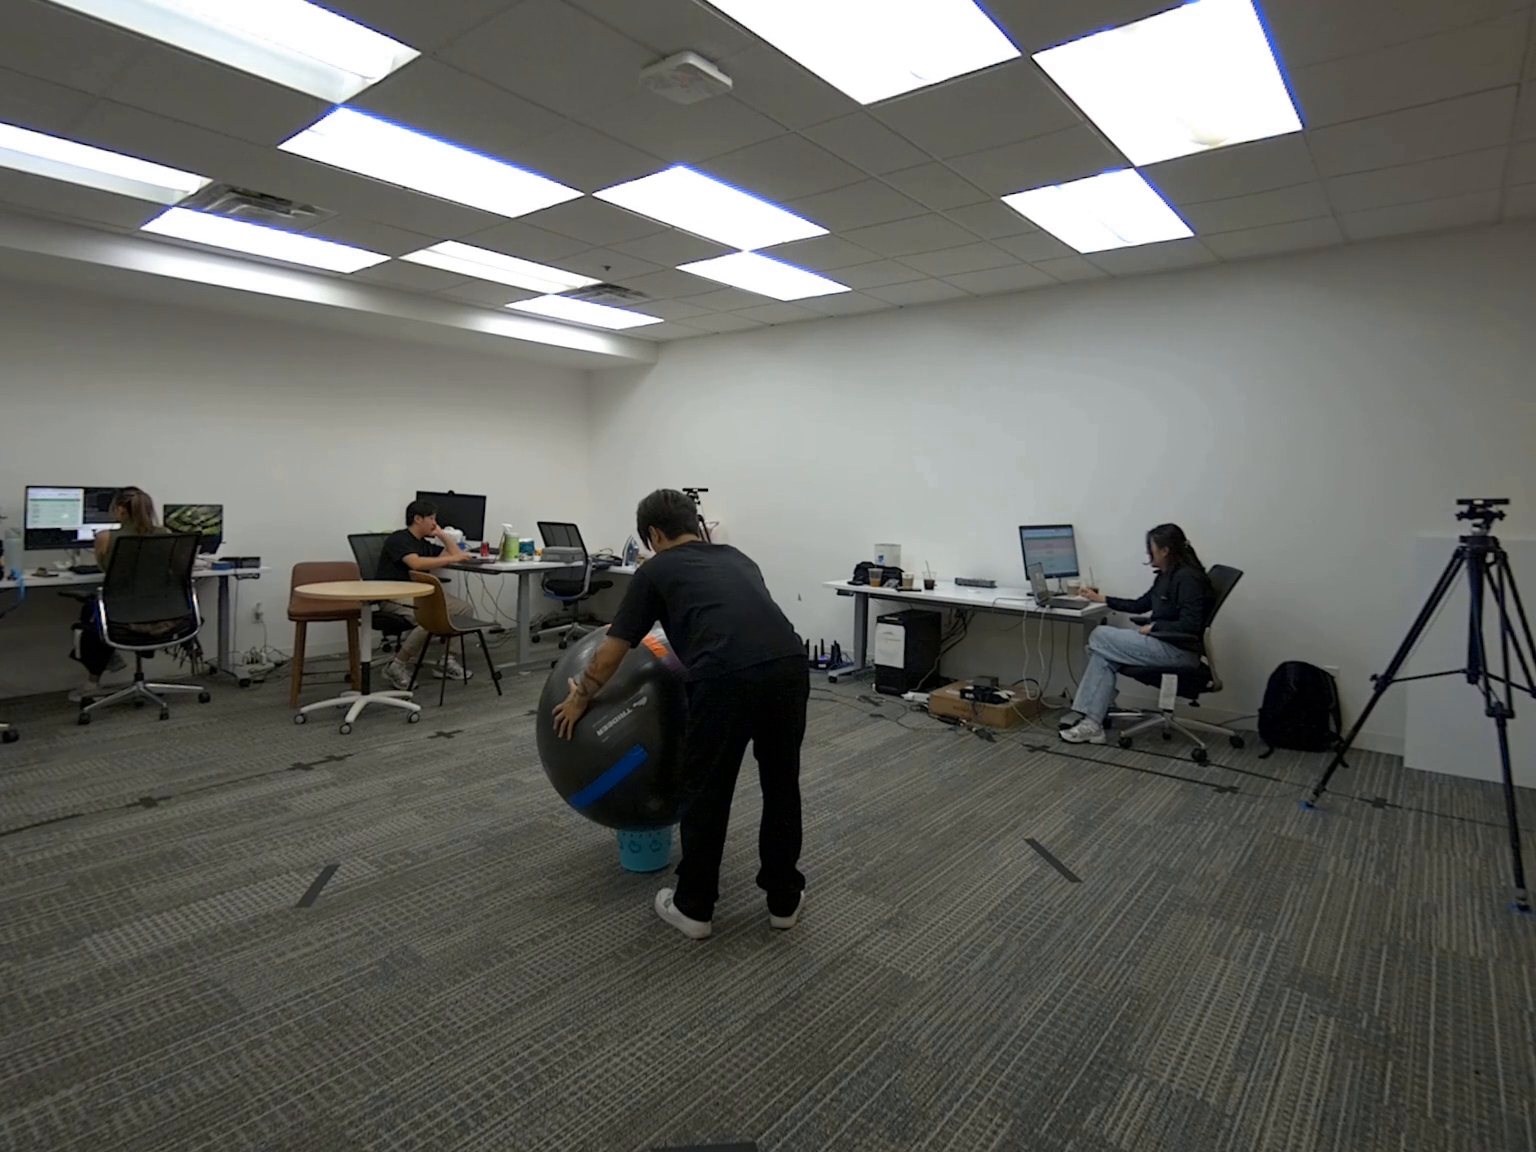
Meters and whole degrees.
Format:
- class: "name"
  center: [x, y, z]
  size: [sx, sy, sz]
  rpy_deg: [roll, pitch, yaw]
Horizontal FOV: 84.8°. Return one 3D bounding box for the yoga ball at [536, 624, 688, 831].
- class: "yoga ball"
  center: [-0.491, 0.546, 3.146]
  size: [0.757, 0.755, 0.762]
  rpy_deg: [1, 4, -2]
